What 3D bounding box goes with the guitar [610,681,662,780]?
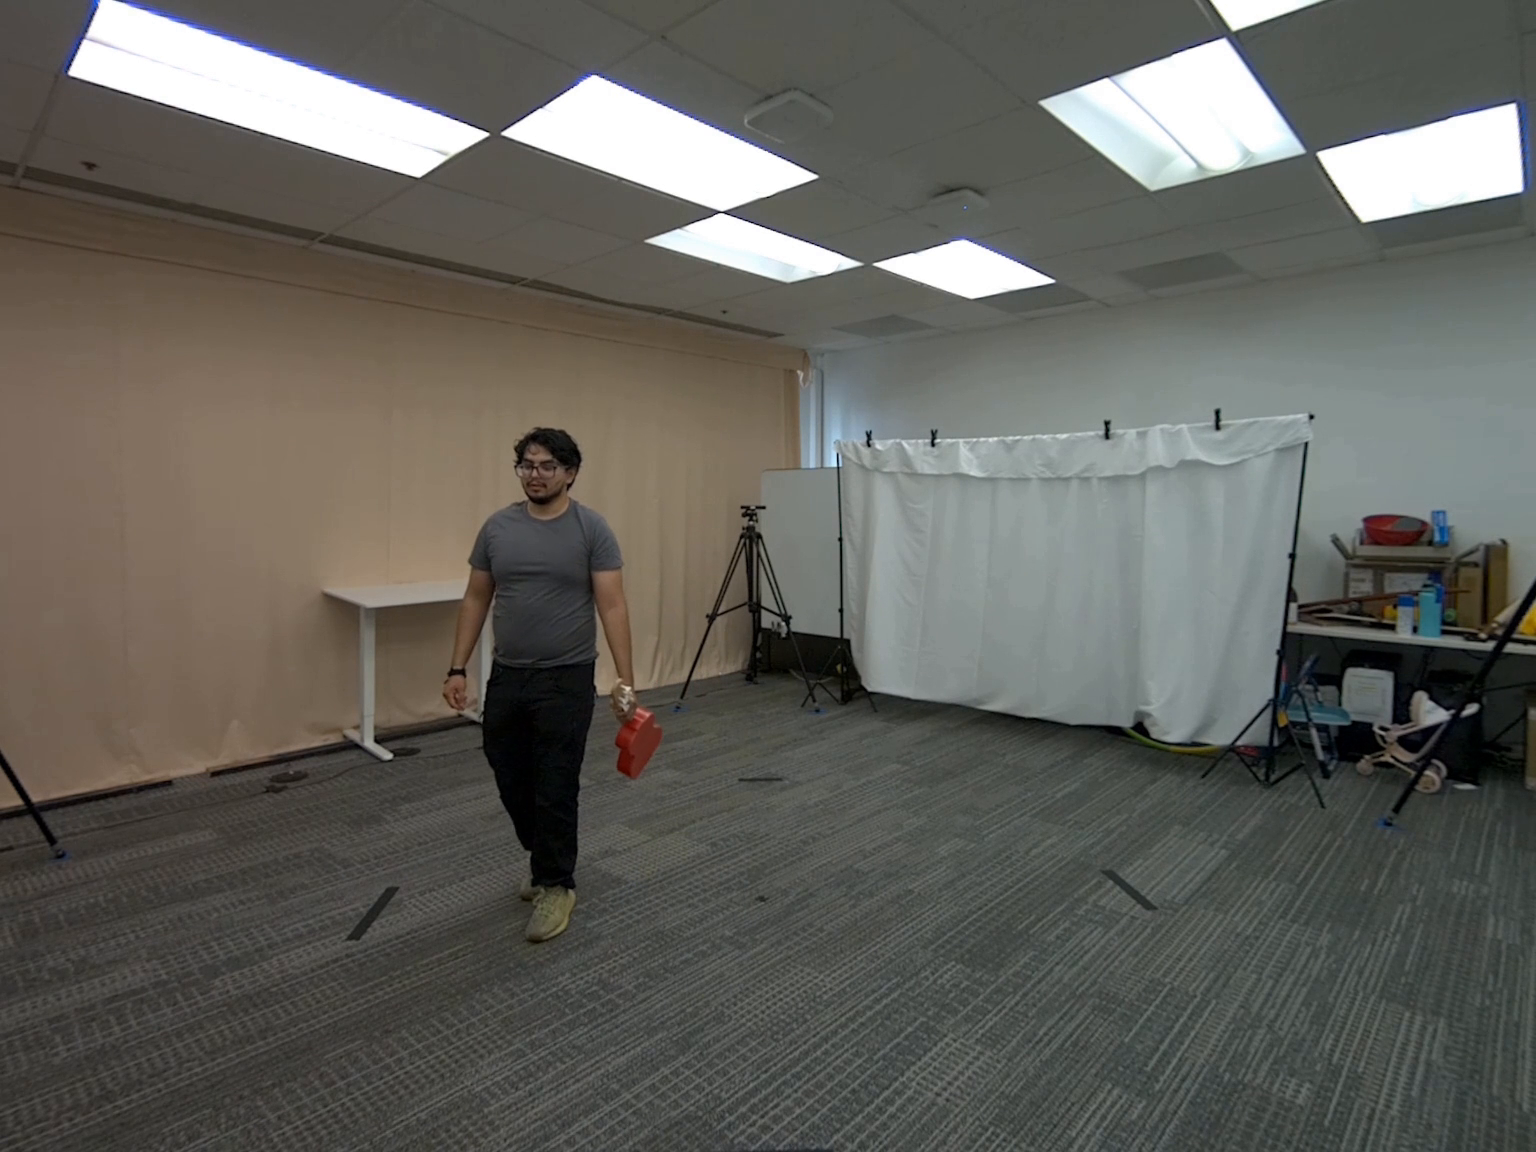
[{"bbox_3d":[-0.445,0.495,2.647,0.072,0.193,0.488,23,-23,14],"label":"guitar"}]
